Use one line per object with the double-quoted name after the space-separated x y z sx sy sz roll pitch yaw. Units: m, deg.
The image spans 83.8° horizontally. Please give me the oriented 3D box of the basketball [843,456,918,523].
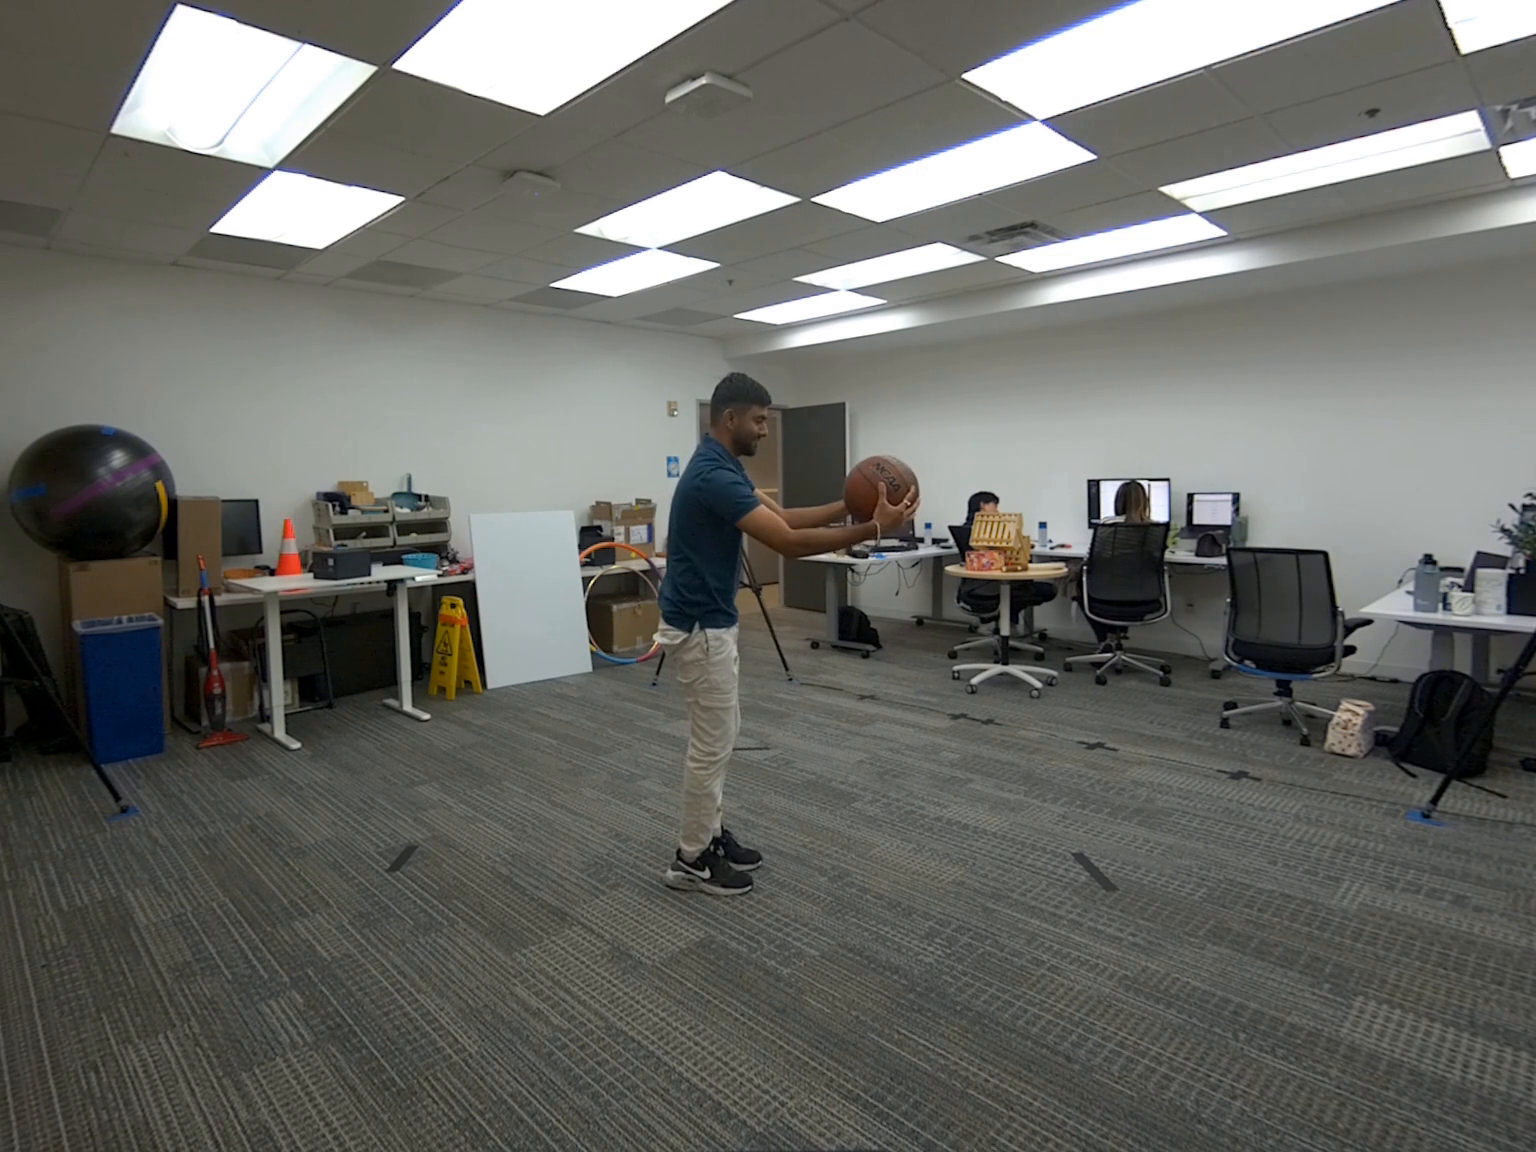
0.365 -0.257 2.725 0.236 0.235 0.237 -1 5 -2 "basketball"
